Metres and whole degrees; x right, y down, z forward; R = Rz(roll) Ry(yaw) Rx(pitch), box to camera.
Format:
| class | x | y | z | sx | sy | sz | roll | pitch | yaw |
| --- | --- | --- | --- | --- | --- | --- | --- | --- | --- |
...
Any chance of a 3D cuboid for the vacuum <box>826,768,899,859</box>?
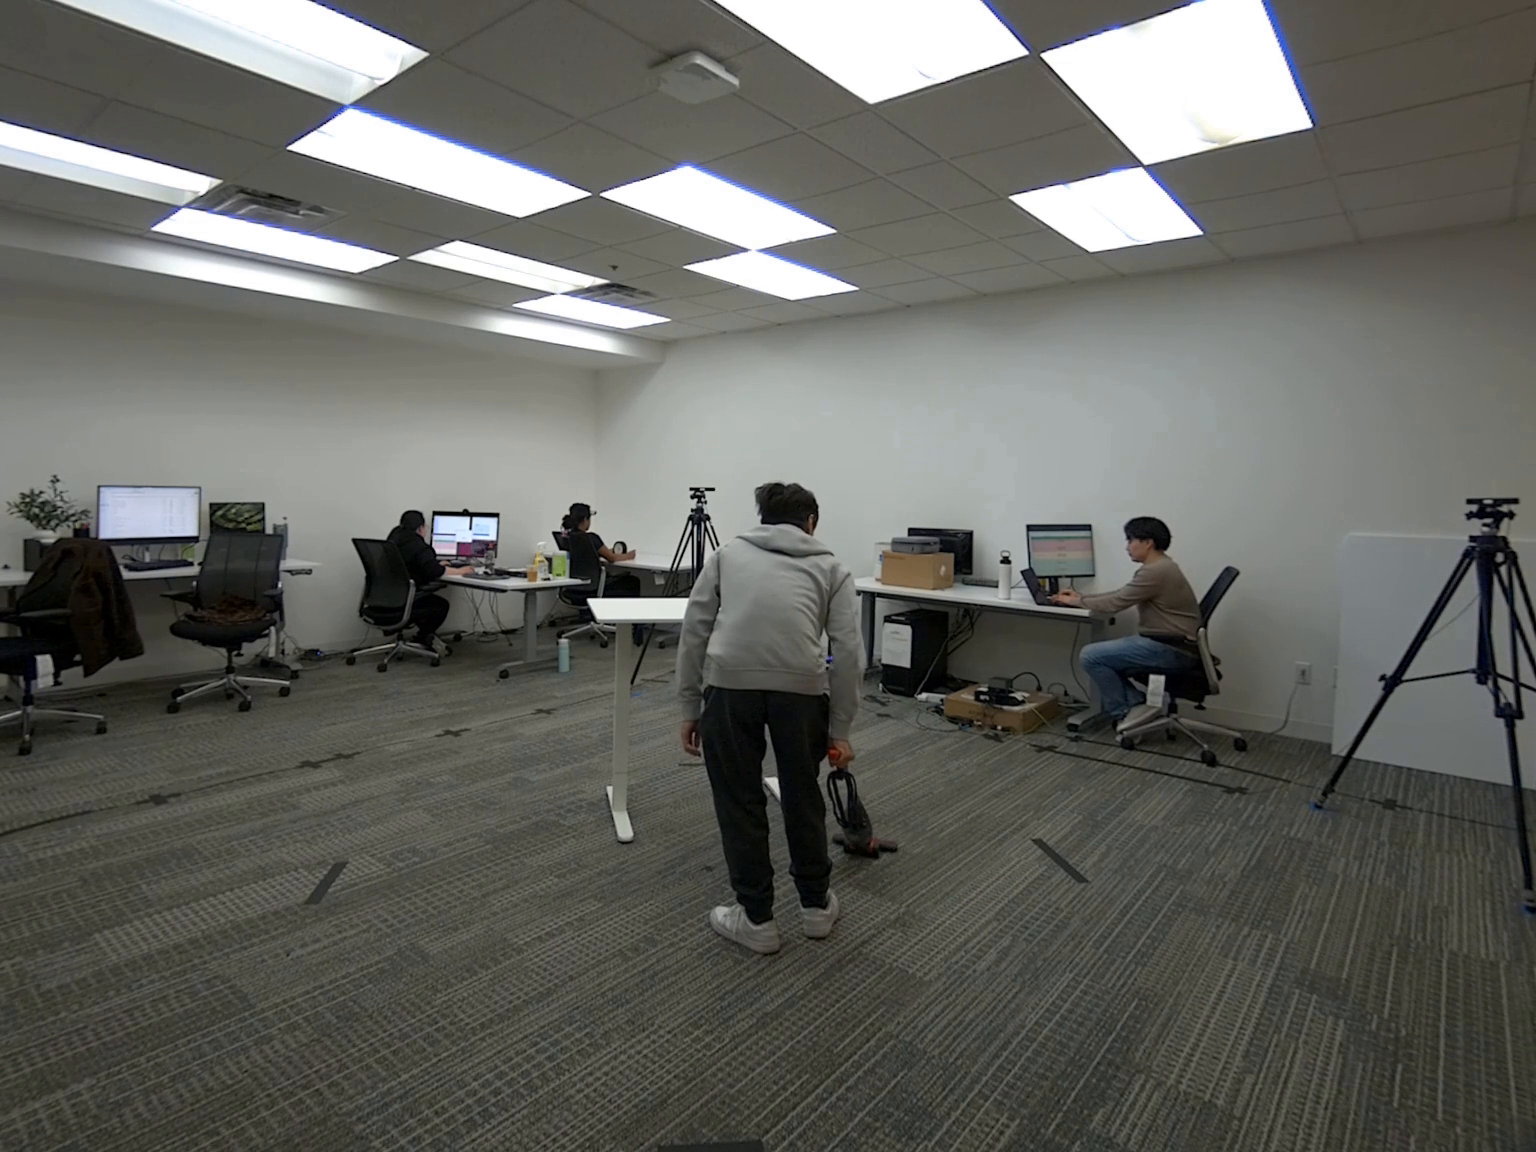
| class | x | y | z | sx | sy | sz | roll | pitch | yaw |
| --- | --- | --- | --- | --- | --- | --- | --- | --- | --- |
| vacuum | 0.274 | 0.789 | 2.907 | 0.256 | 0.147 | 1.013 | 3 | -31 | 13 |
